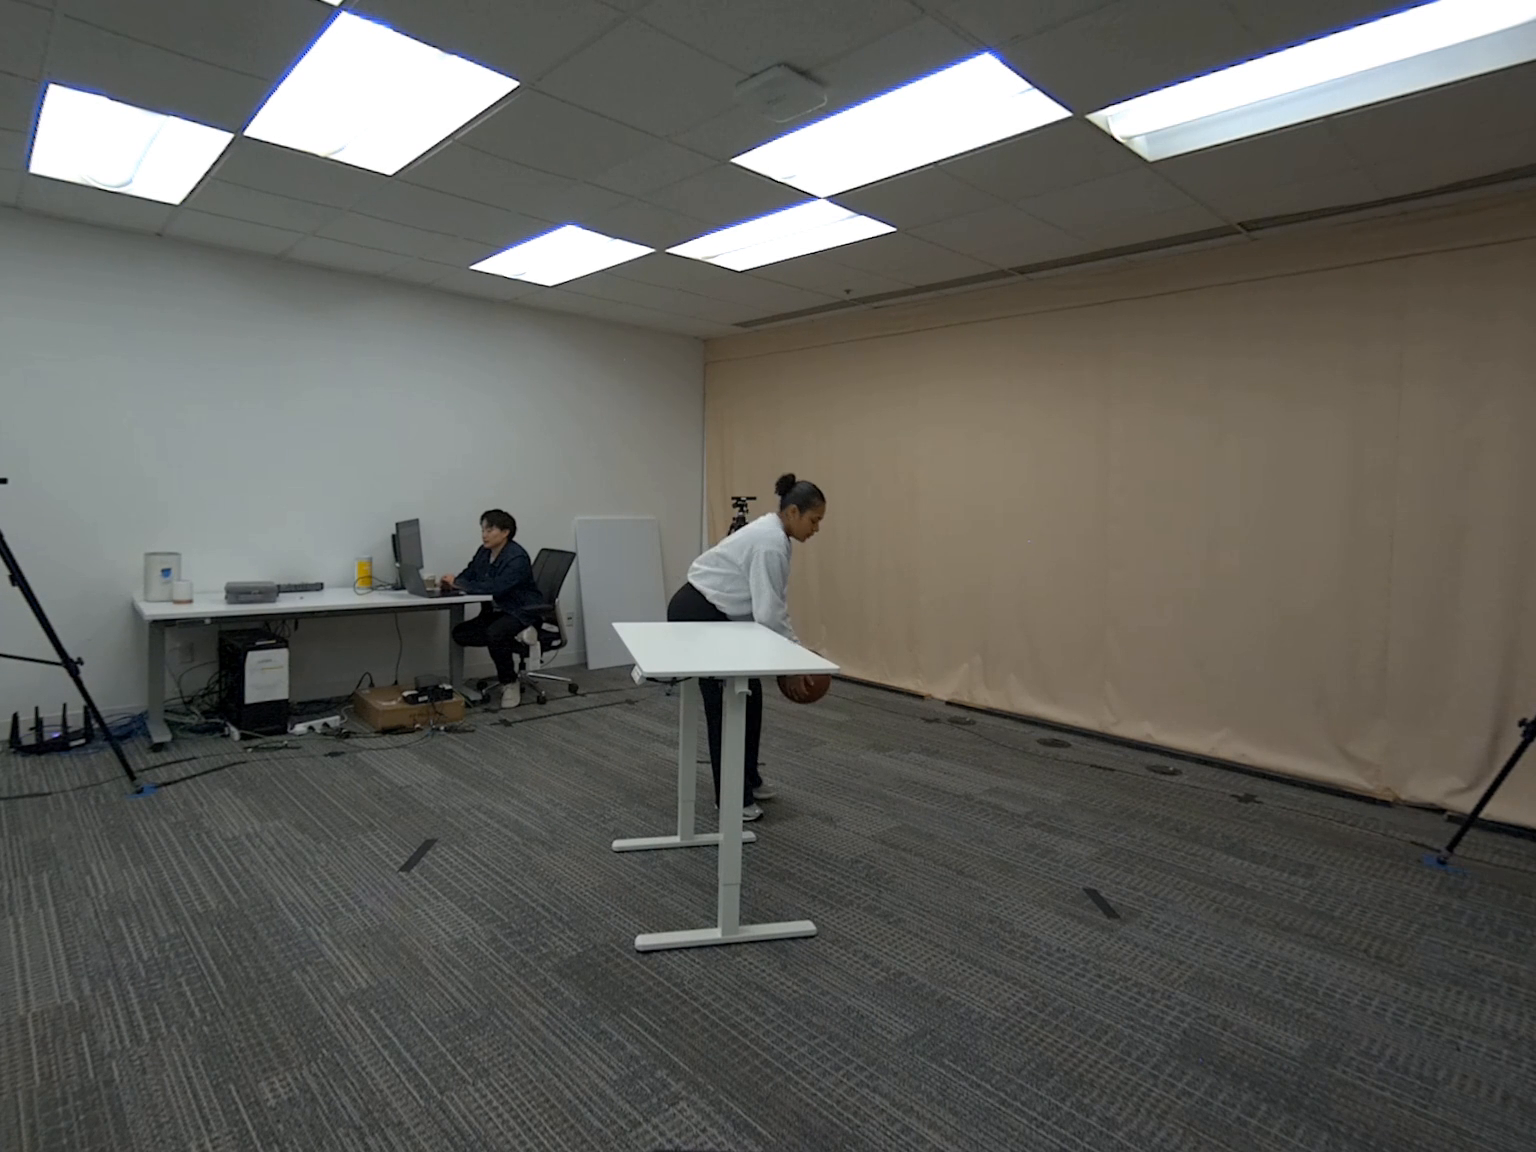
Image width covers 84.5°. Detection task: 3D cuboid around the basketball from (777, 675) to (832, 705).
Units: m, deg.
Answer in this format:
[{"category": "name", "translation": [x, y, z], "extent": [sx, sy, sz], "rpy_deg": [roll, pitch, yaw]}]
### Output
[{"category": "basketball", "translation": [0.143, 0.442, 3.688], "extent": [0.236, 0.235, 0.237], "rpy_deg": [1, 4, -1]}]
